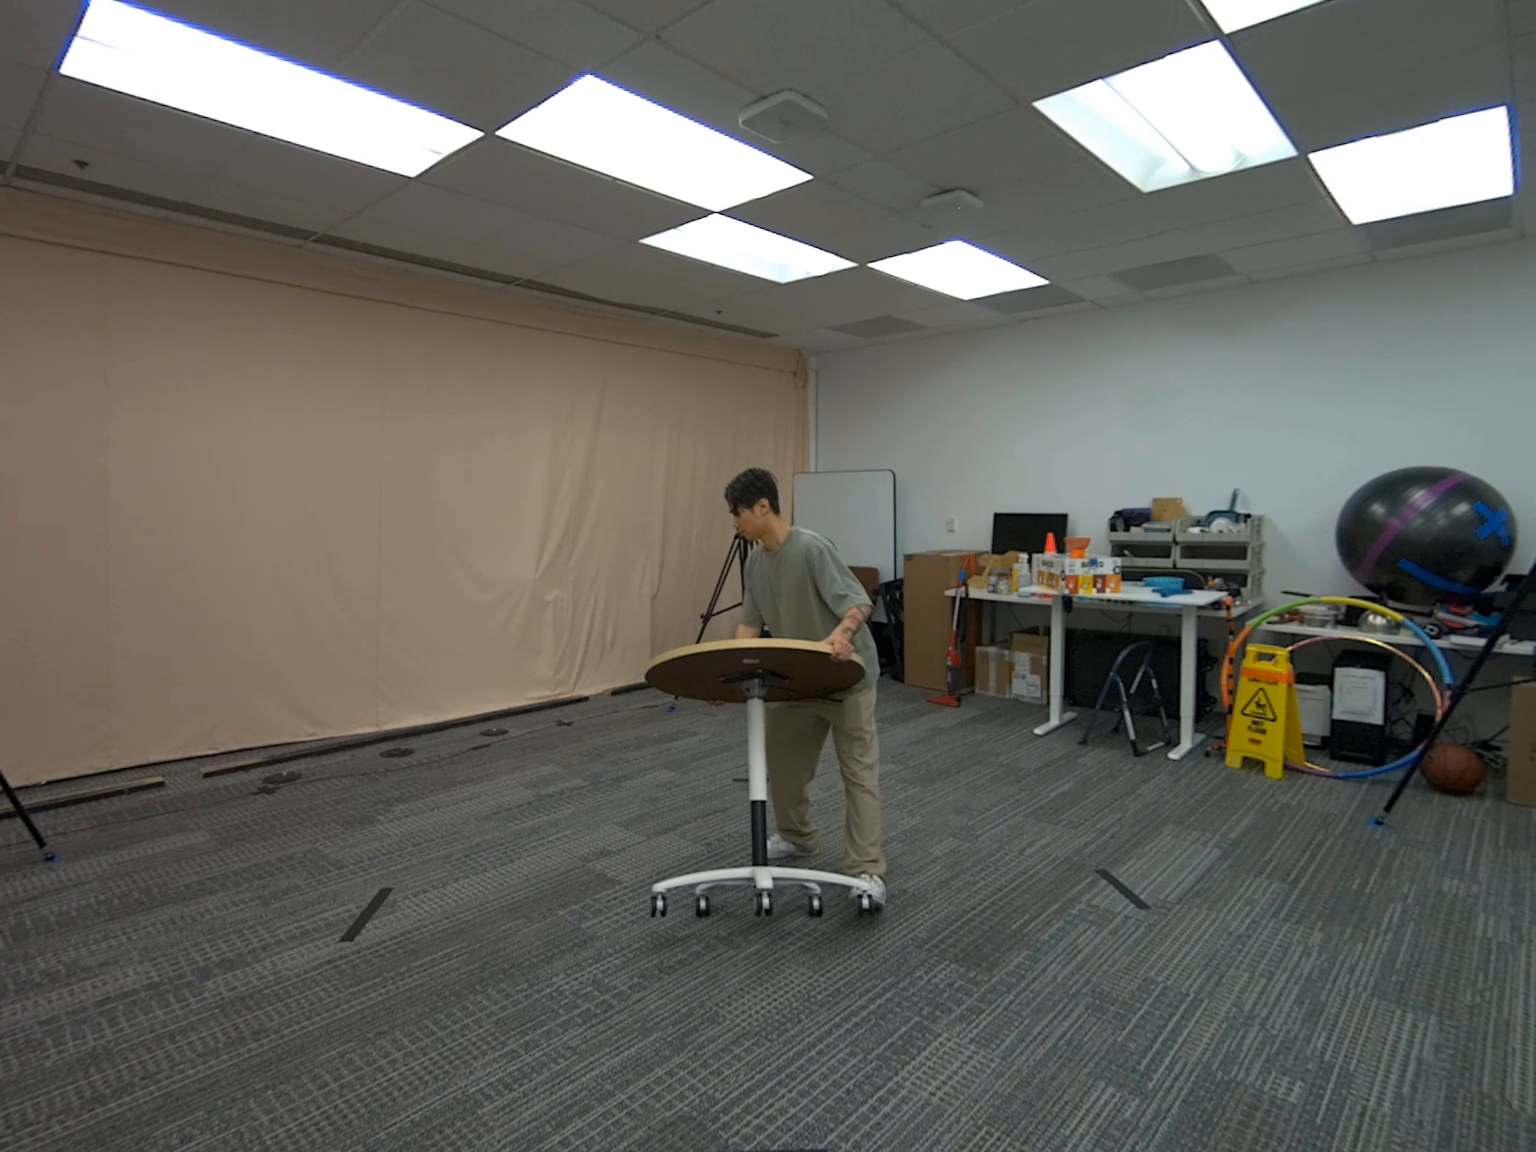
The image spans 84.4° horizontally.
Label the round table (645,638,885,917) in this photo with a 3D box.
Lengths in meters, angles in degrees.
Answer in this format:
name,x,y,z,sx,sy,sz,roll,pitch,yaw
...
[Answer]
name,x,y,z,sx,sy,sz,roll,pitch,yaw
round table,-0.036,0.694,2.765,0.784,0.797,0.775,0,-22,-2
